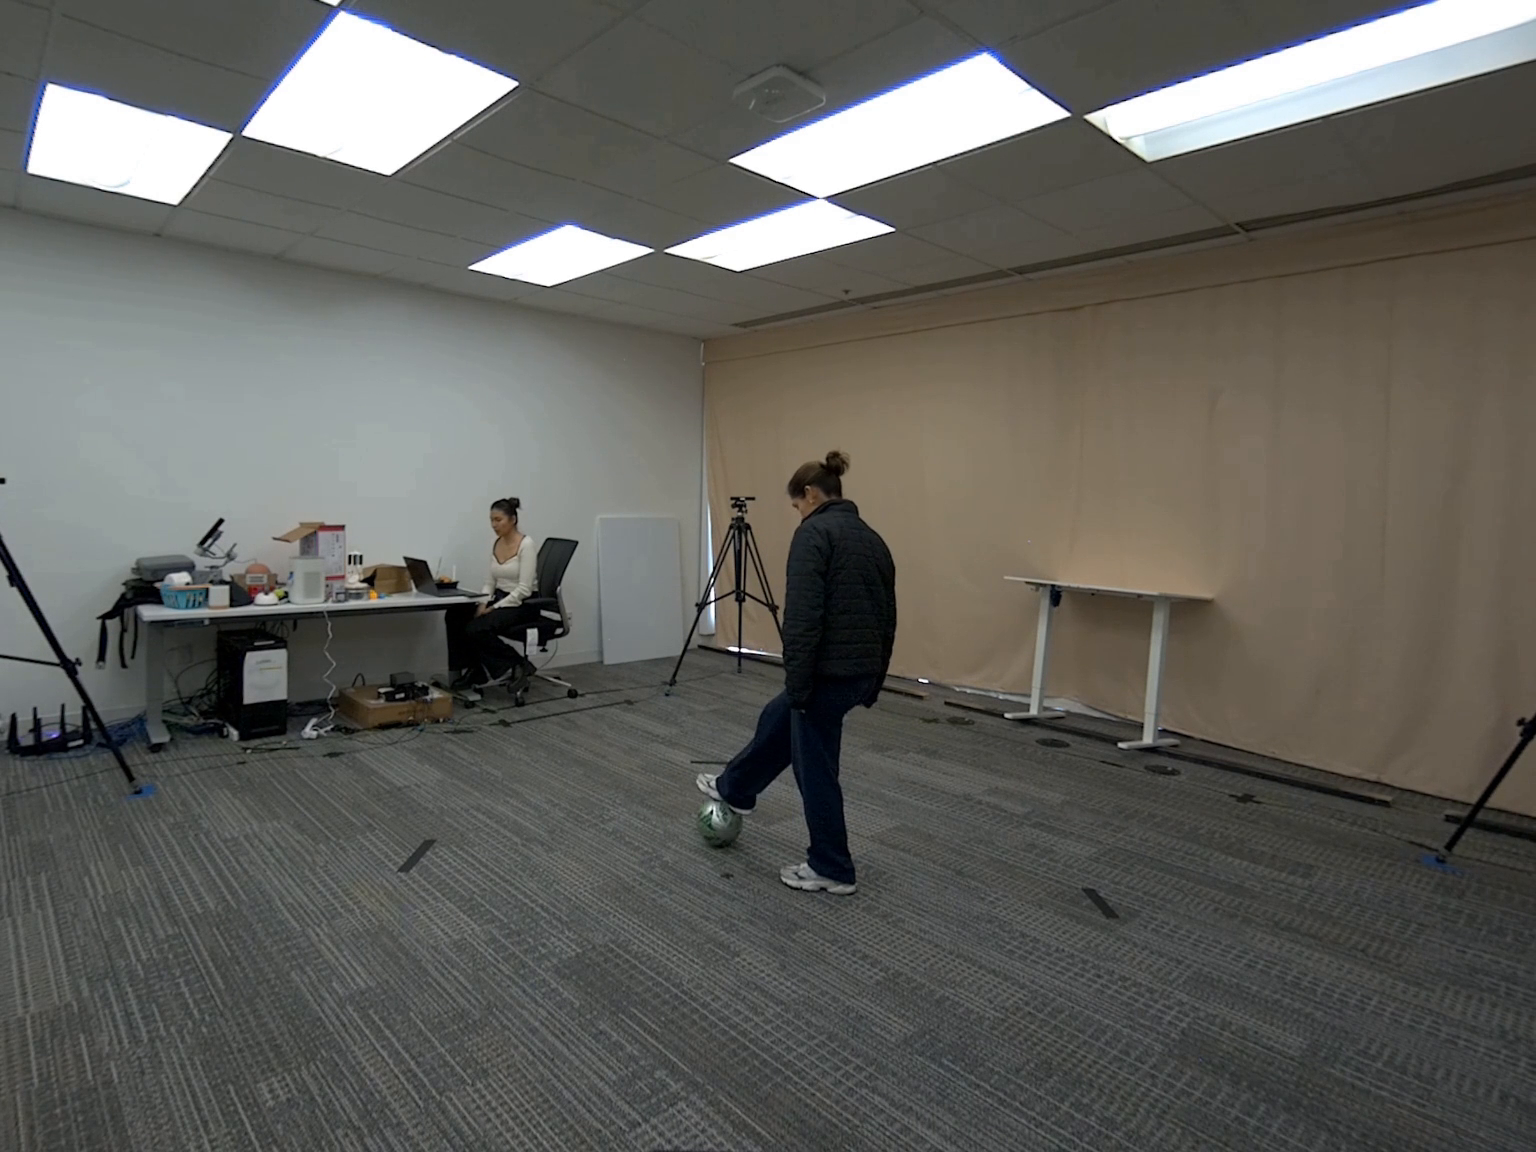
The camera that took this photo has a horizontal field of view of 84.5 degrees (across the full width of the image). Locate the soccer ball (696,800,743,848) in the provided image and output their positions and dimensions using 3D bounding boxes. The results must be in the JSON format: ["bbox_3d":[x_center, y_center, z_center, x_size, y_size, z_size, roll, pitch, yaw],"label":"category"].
[{"bbox_3d":[-0.199,0.987,3.378,0.187,0.187,0.188,1,4,-1],"label":"soccer ball"}]
